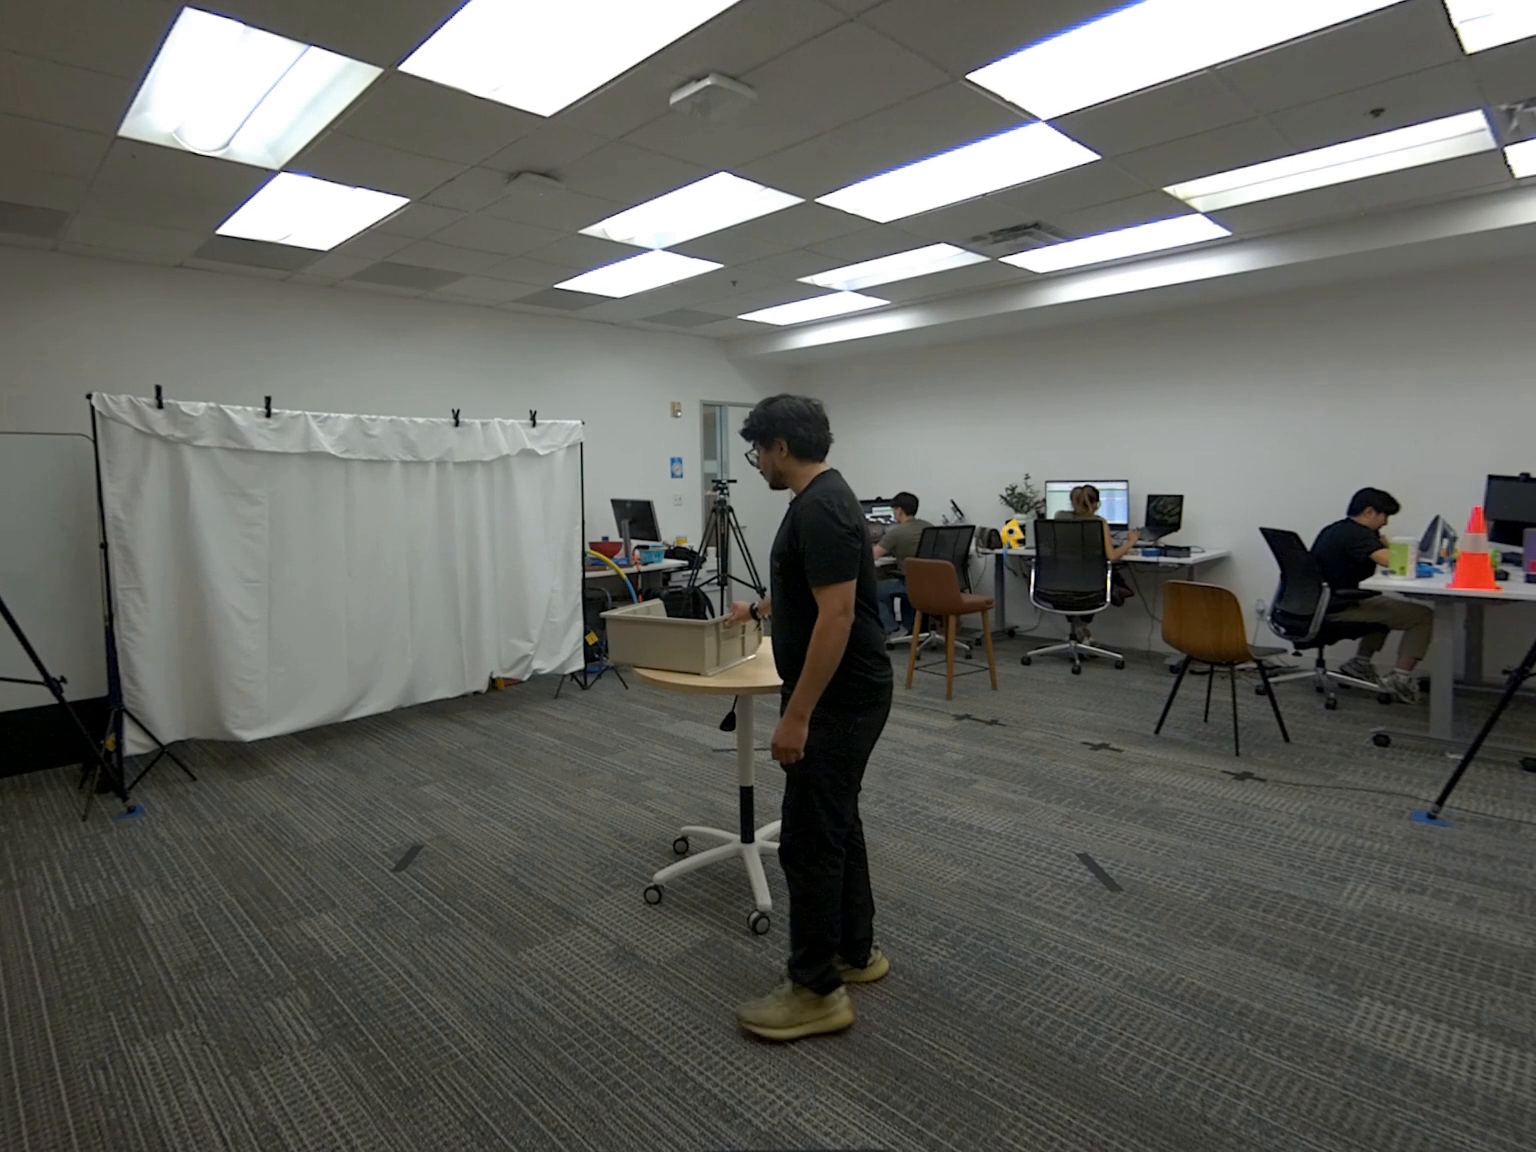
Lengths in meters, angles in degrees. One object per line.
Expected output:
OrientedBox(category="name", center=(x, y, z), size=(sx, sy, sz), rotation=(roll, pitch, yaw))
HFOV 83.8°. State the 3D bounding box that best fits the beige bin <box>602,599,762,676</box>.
OrientedBox(category="beige bin", center=(-0.286, 0.199, 2.931), size=(0.433, 0.188, 0.370), rotation=(2, 9, 30))
